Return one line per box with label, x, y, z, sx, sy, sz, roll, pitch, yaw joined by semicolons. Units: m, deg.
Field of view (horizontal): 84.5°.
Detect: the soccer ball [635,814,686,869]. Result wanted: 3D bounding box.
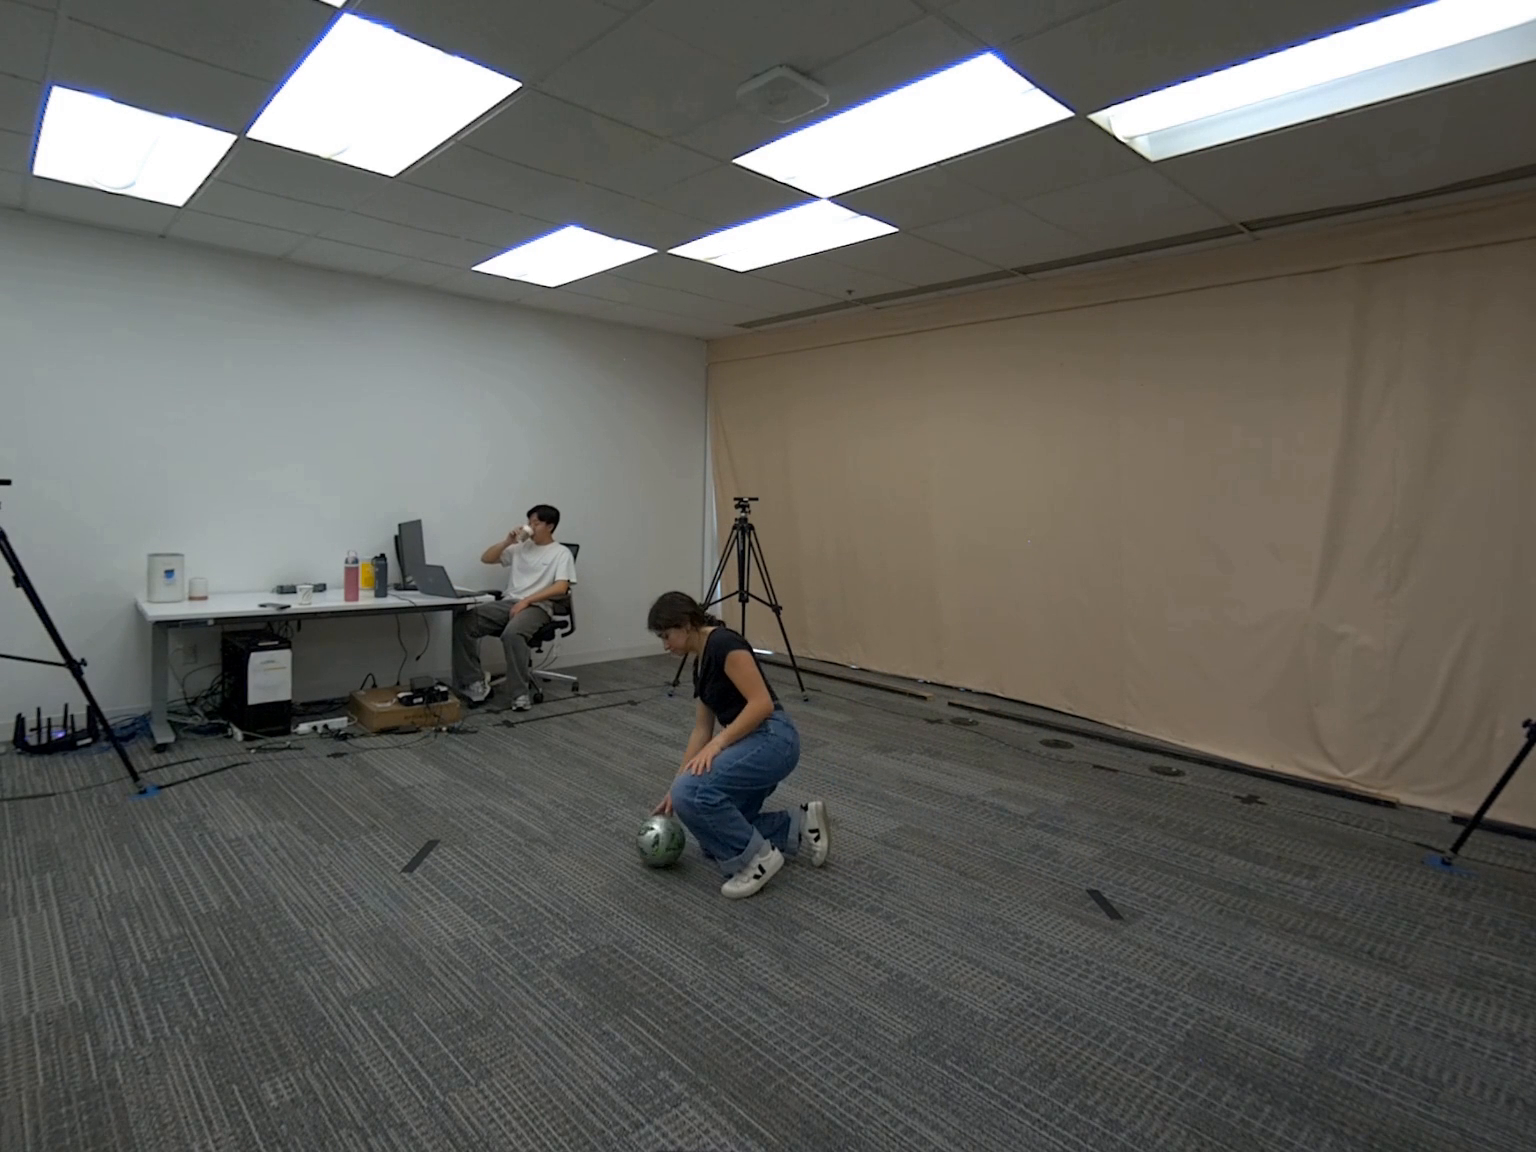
soccer ball;-0.410;1.001;3.176;0.187;0.187;0.188;1;4;-1
